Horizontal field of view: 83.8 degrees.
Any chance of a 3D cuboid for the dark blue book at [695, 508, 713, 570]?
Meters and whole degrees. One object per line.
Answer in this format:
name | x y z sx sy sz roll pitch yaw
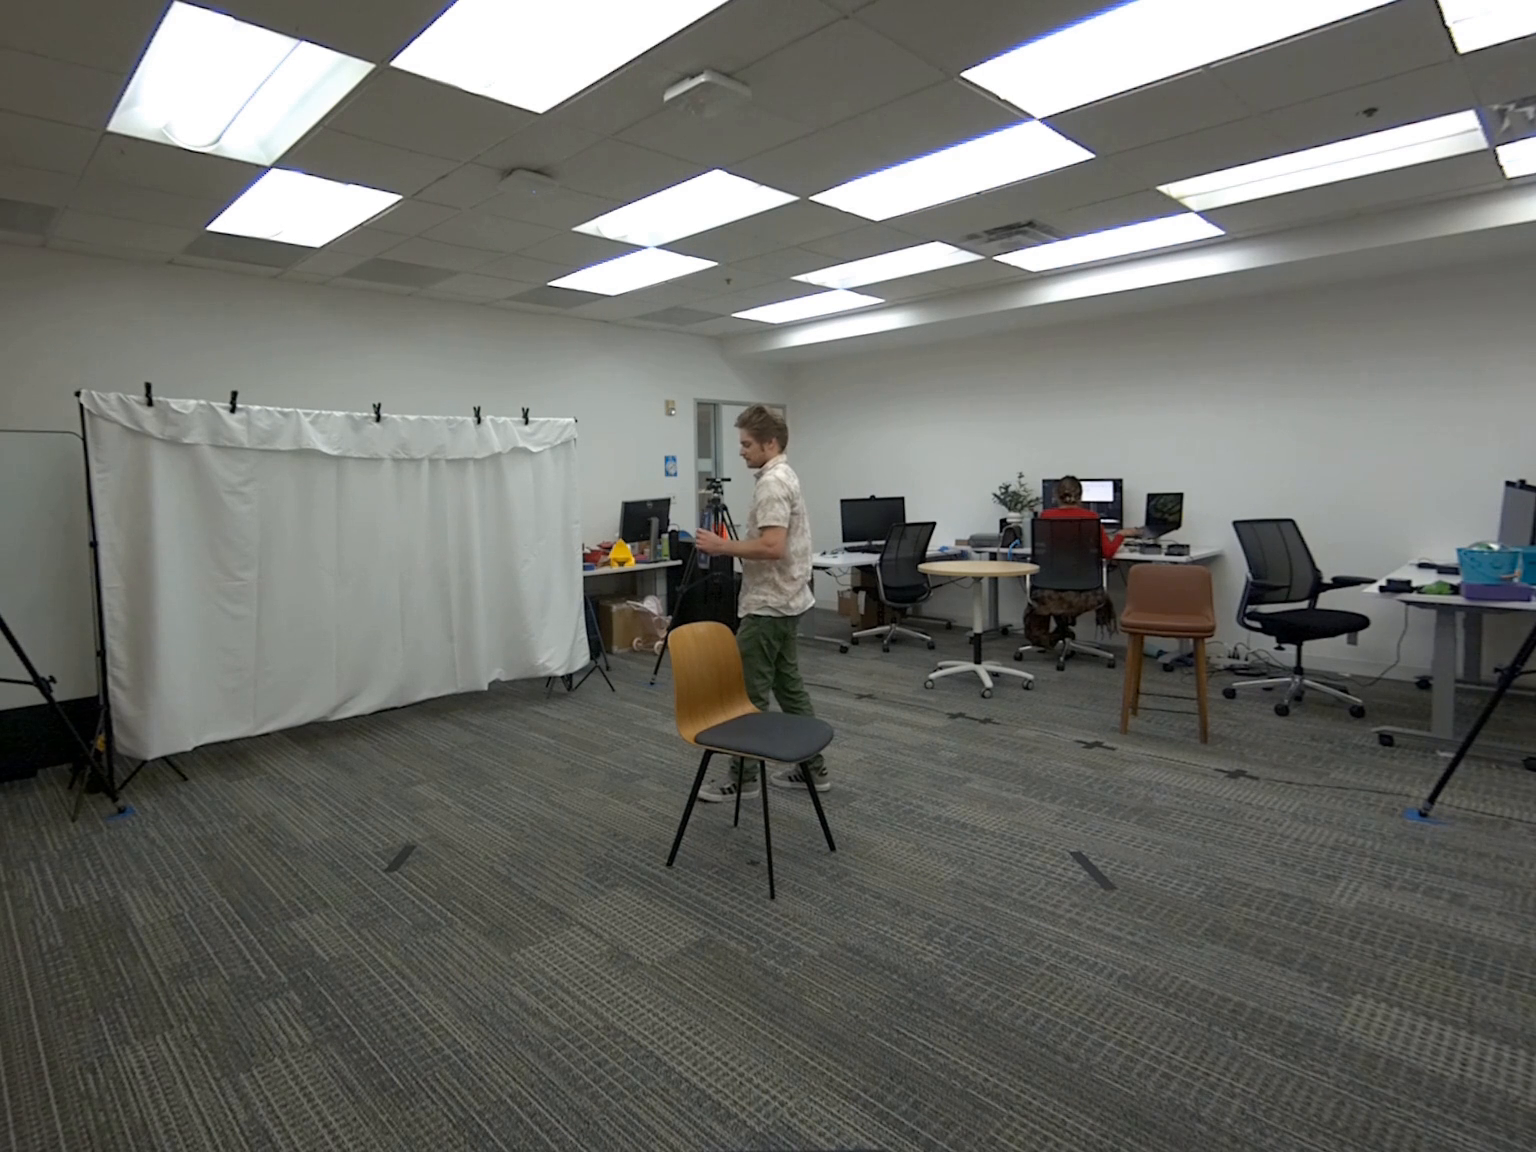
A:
dark blue book | -0.275 -0.164 3.784 0.045 0.247 0.162 4 -10 -4
